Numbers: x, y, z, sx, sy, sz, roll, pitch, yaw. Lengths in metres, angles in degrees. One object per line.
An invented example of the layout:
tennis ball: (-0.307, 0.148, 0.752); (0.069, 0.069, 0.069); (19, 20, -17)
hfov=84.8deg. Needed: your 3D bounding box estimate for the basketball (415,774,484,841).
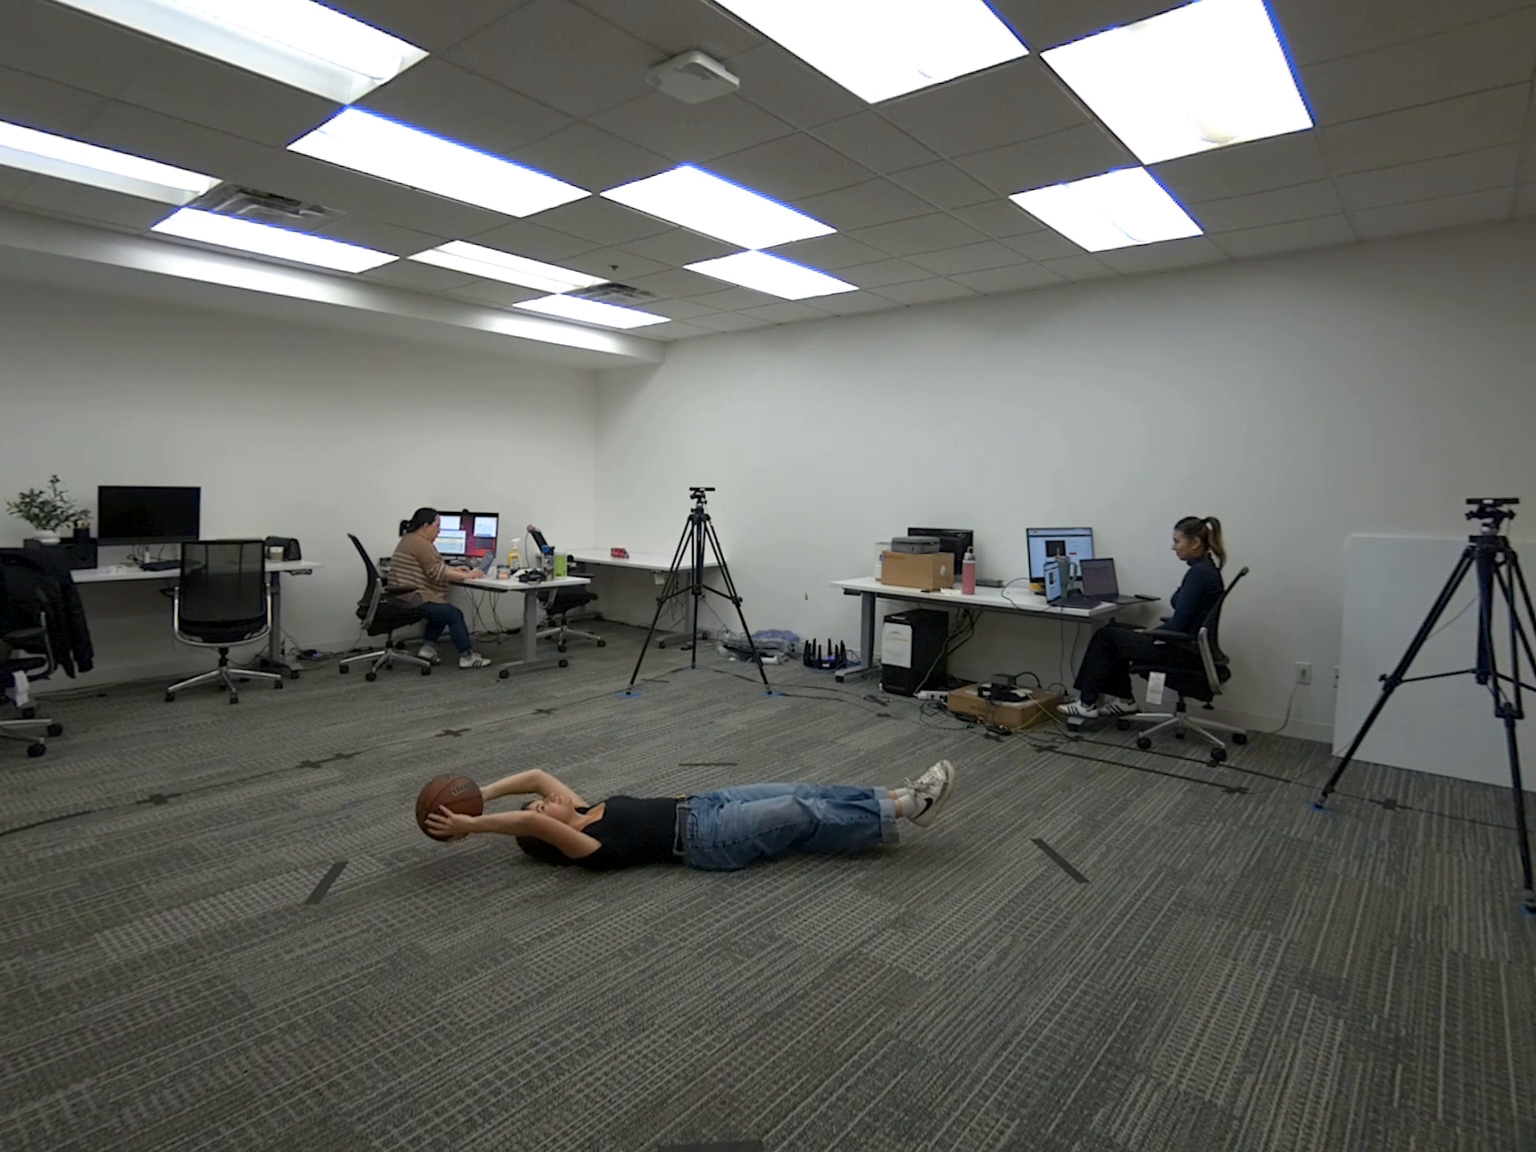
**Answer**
basketball: (-1.160, 0.826, 3.102); (0.235, 0.235, 0.237); (1, 4, -2)
